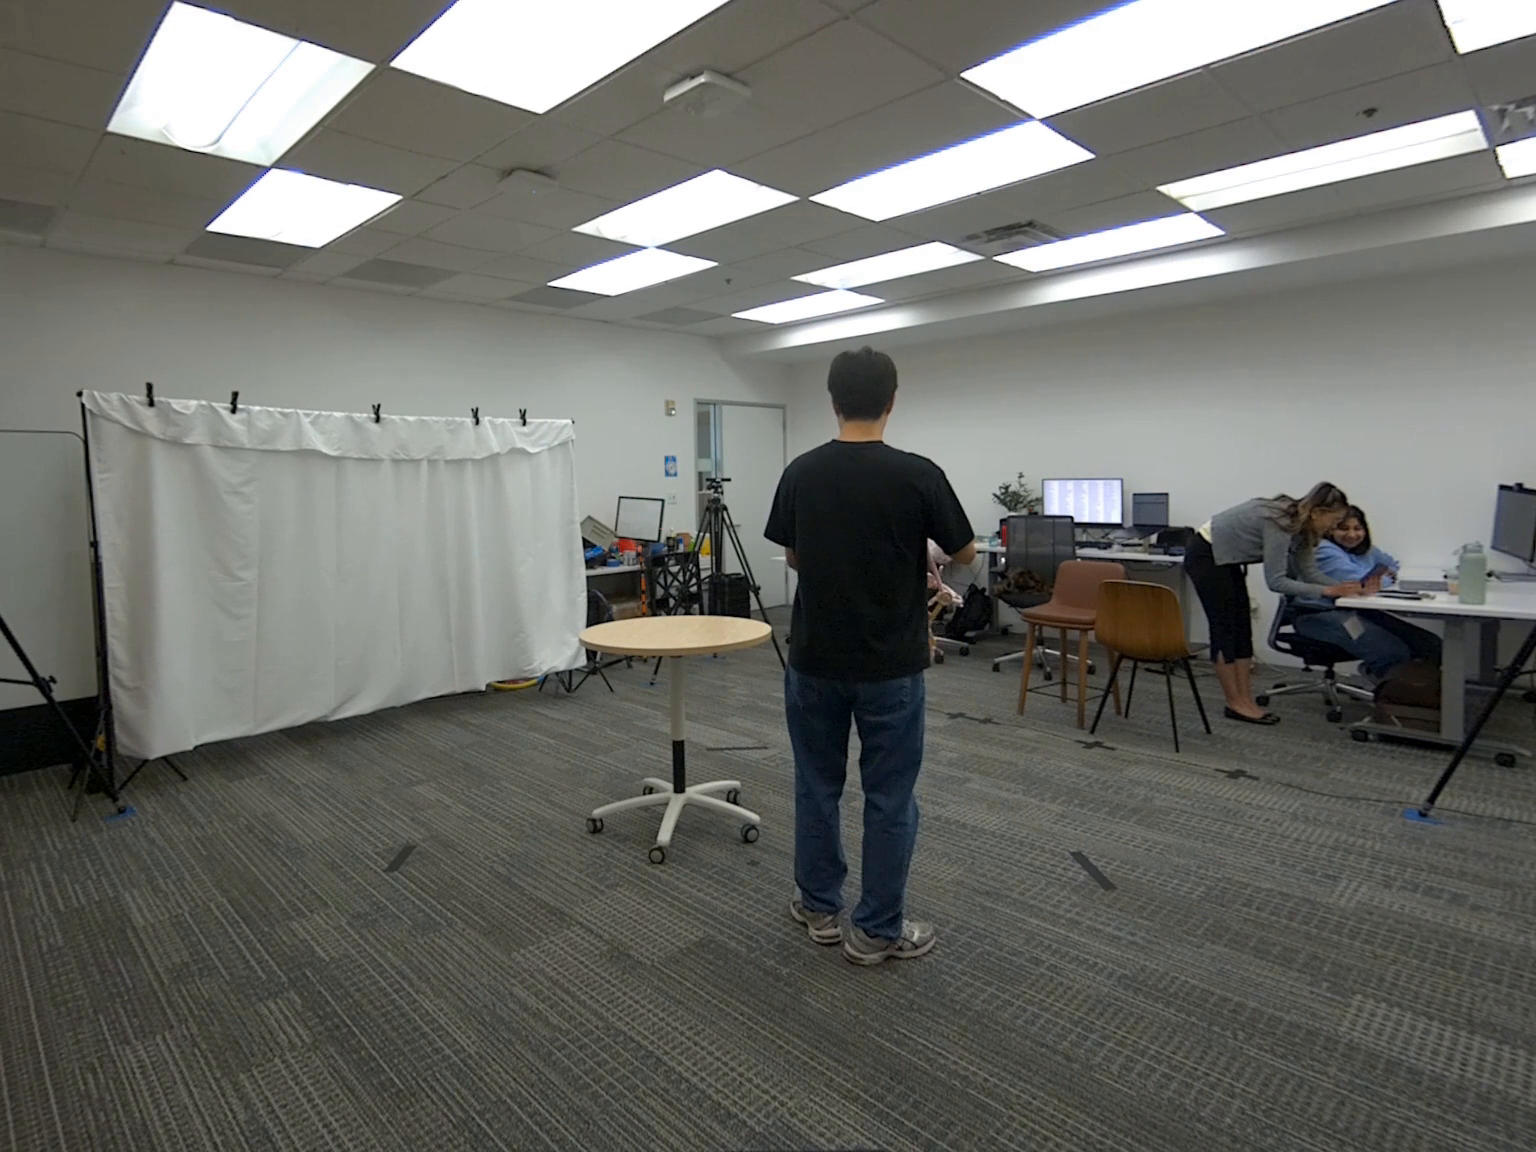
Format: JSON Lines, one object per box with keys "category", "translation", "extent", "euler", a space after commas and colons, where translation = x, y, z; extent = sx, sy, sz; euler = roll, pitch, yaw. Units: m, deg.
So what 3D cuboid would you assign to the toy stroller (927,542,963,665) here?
{"category": "toy stroller", "translation": [0.505, 0.014, 2.841], "extent": [0.340, 0.532, 0.284], "euler": [21, 11, -5]}
